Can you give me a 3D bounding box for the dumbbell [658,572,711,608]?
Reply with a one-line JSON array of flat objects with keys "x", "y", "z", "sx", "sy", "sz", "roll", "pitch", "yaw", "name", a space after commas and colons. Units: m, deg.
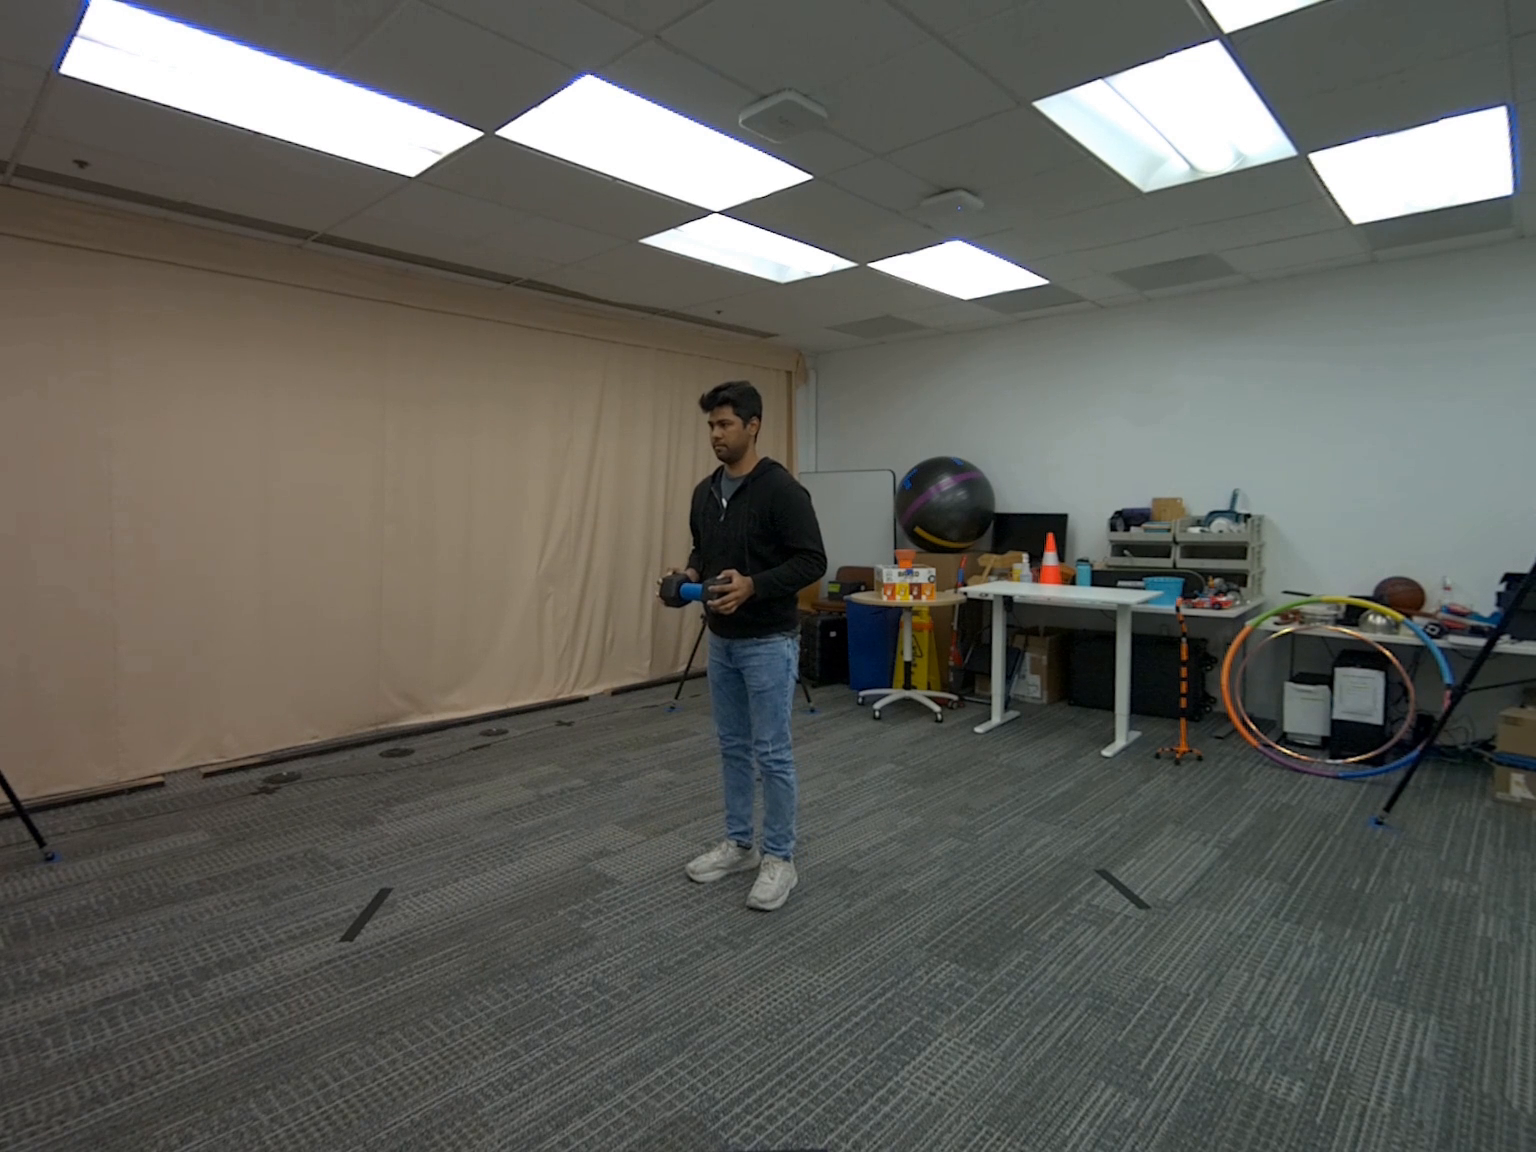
[{"x": -0.228, "y": 0.057, "z": 2.878, "sx": 0.120, "sy": 0.108, "sz": 0.303, "roll": -20, "pitch": 15, "yaw": -41, "name": "dumbbell"}]
